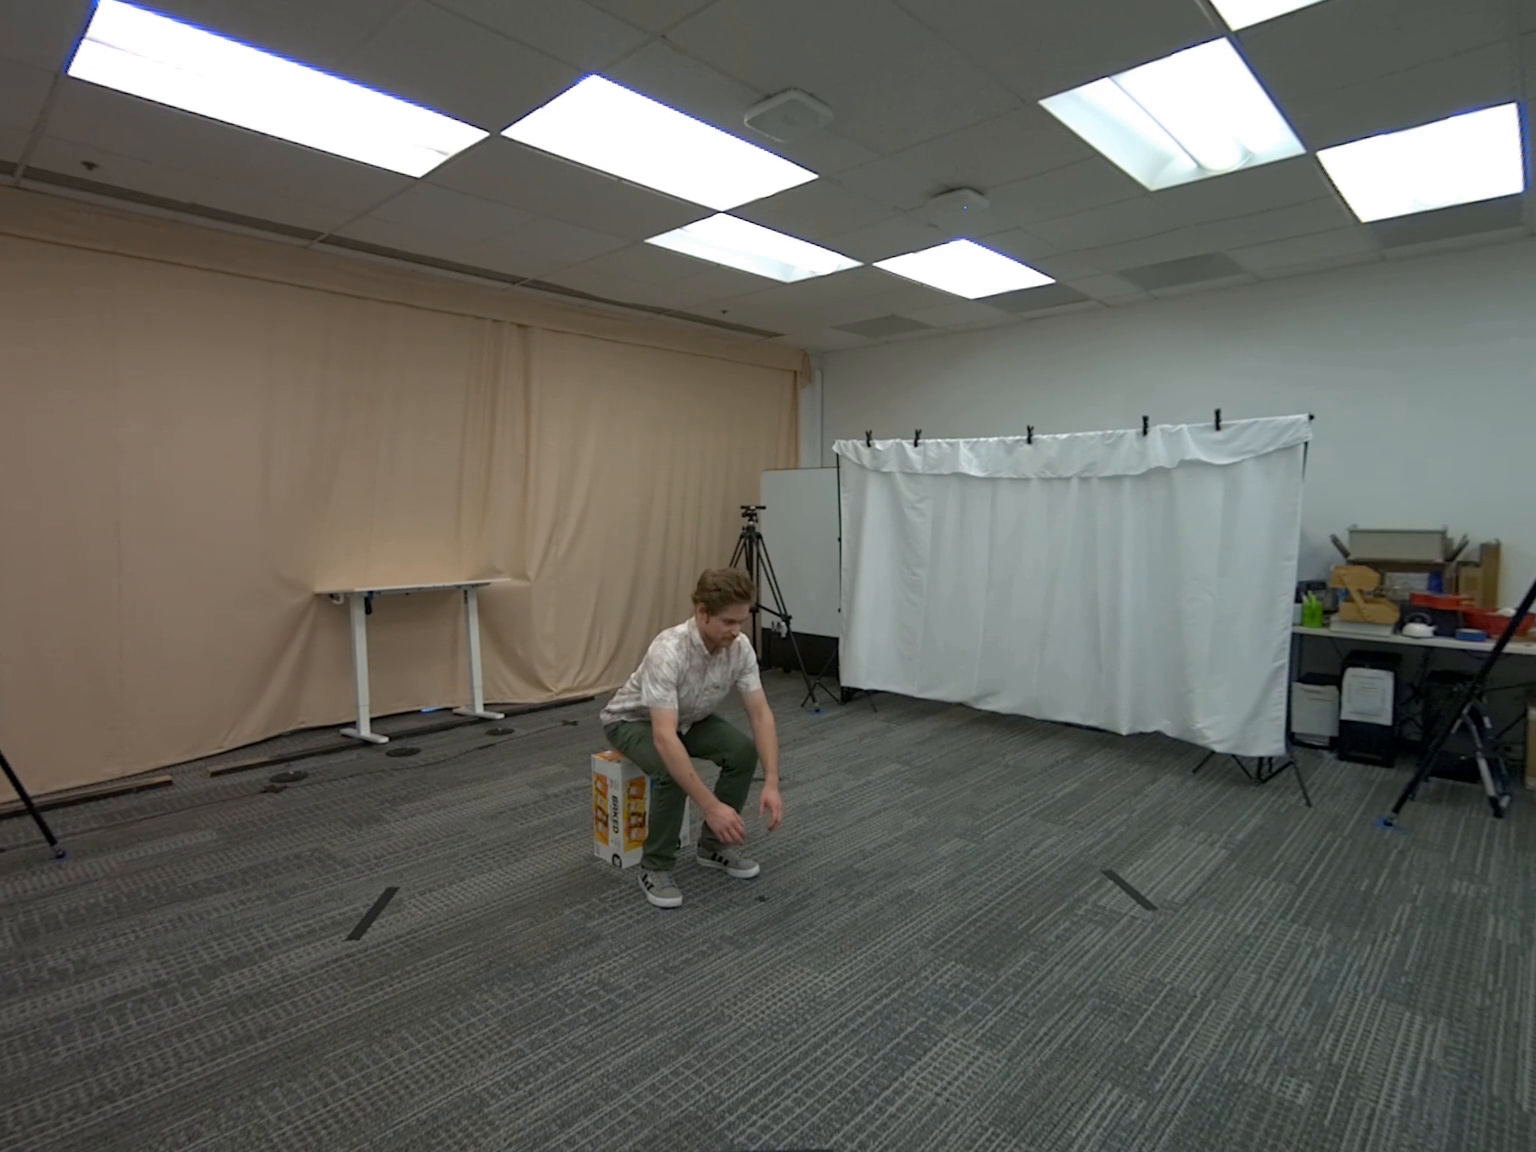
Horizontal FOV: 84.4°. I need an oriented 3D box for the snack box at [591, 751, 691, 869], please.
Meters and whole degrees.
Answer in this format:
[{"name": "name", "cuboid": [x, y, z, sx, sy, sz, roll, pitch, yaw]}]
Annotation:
[{"name": "snack box", "cuboid": [-0.515, 0.911, 3.408, 0.330, 0.404, 0.212, -4, 5, -44]}]
